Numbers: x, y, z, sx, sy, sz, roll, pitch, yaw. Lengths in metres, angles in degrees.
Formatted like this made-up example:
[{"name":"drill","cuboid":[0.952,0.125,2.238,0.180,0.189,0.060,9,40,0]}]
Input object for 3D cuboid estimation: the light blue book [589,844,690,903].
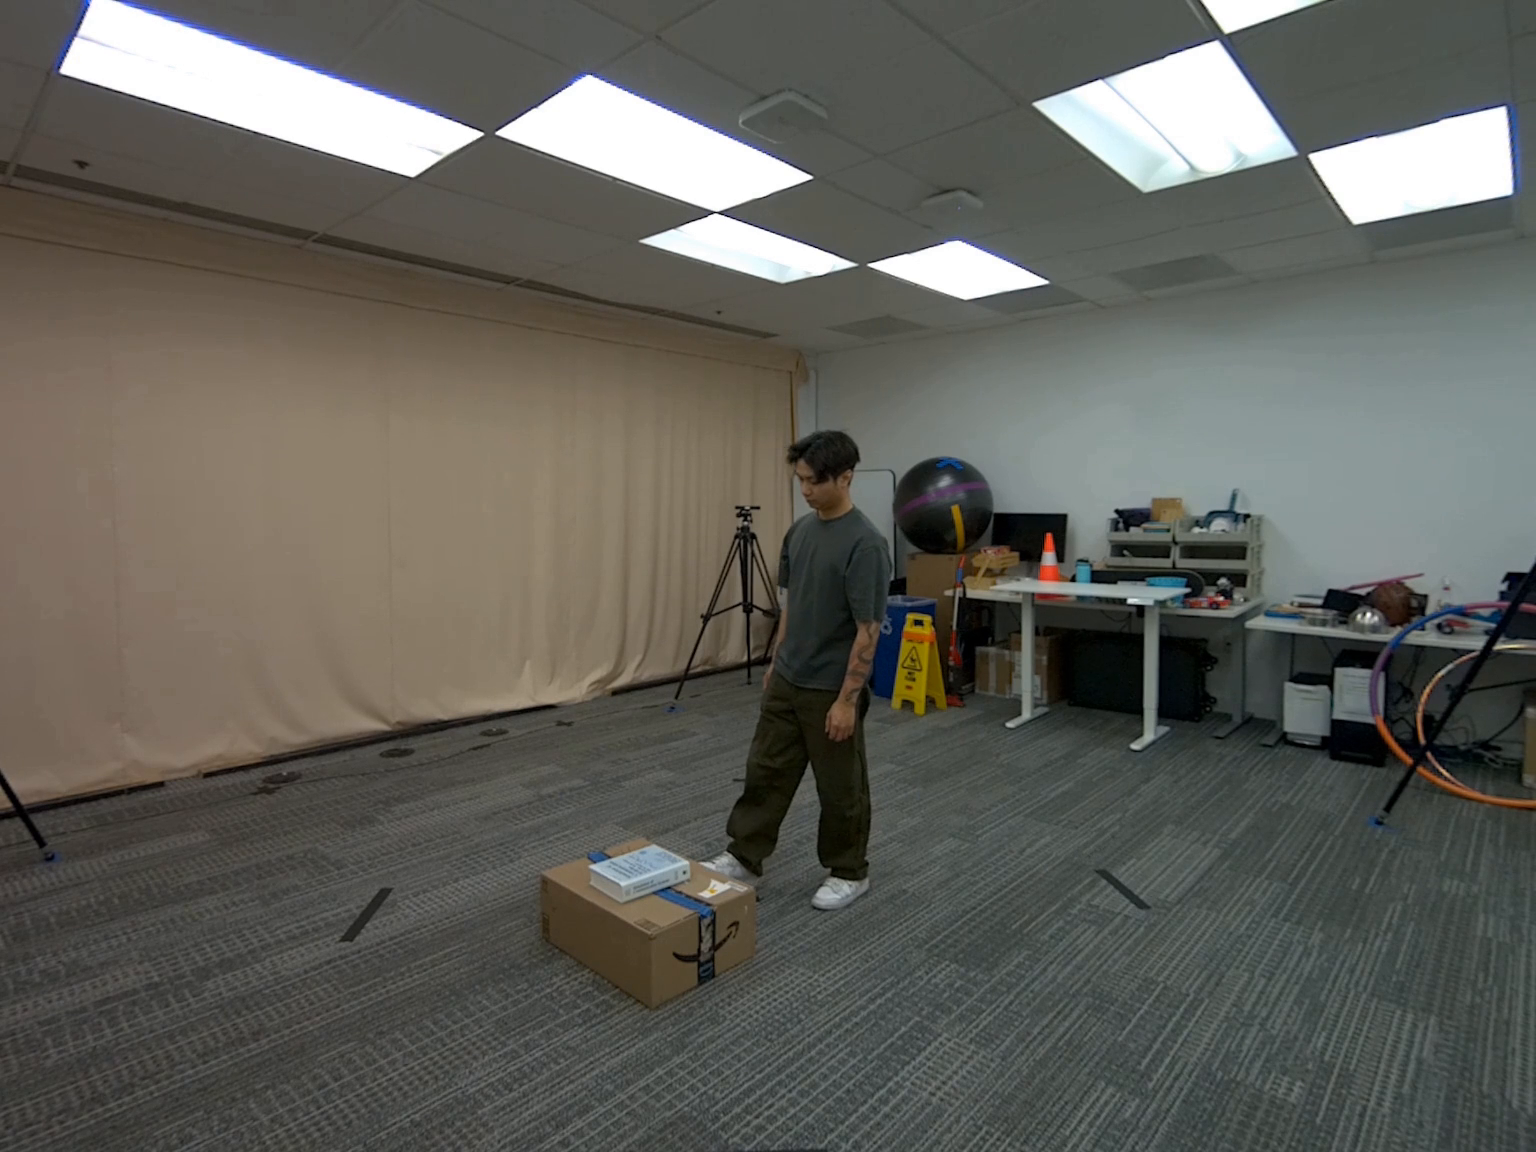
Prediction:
[{"name":"light blue book","cuboid":[-0.403,0.935,2.654,0.253,0.059,0.198,-4,5,-42]}]
